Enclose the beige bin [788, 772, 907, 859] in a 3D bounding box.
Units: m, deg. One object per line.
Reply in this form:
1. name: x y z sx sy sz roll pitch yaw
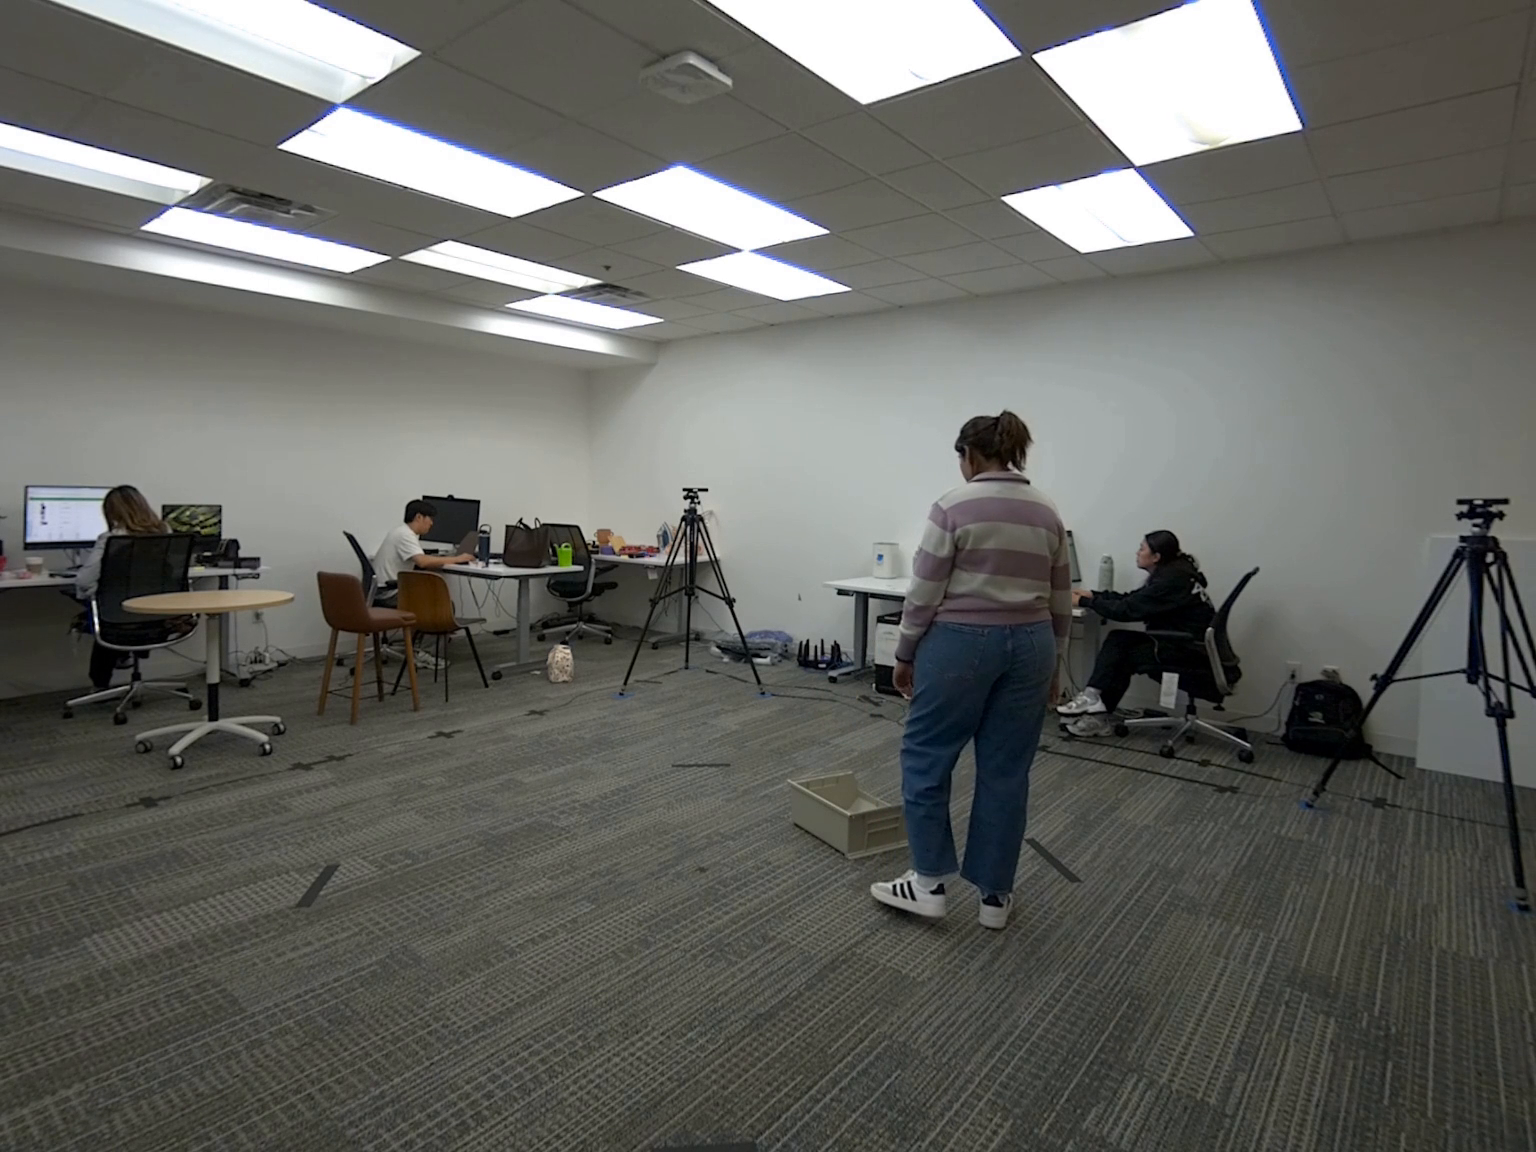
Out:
1. beige bin: 0.342 0.958 3.476 0.367 0.188 0.436 -3 7 -31
